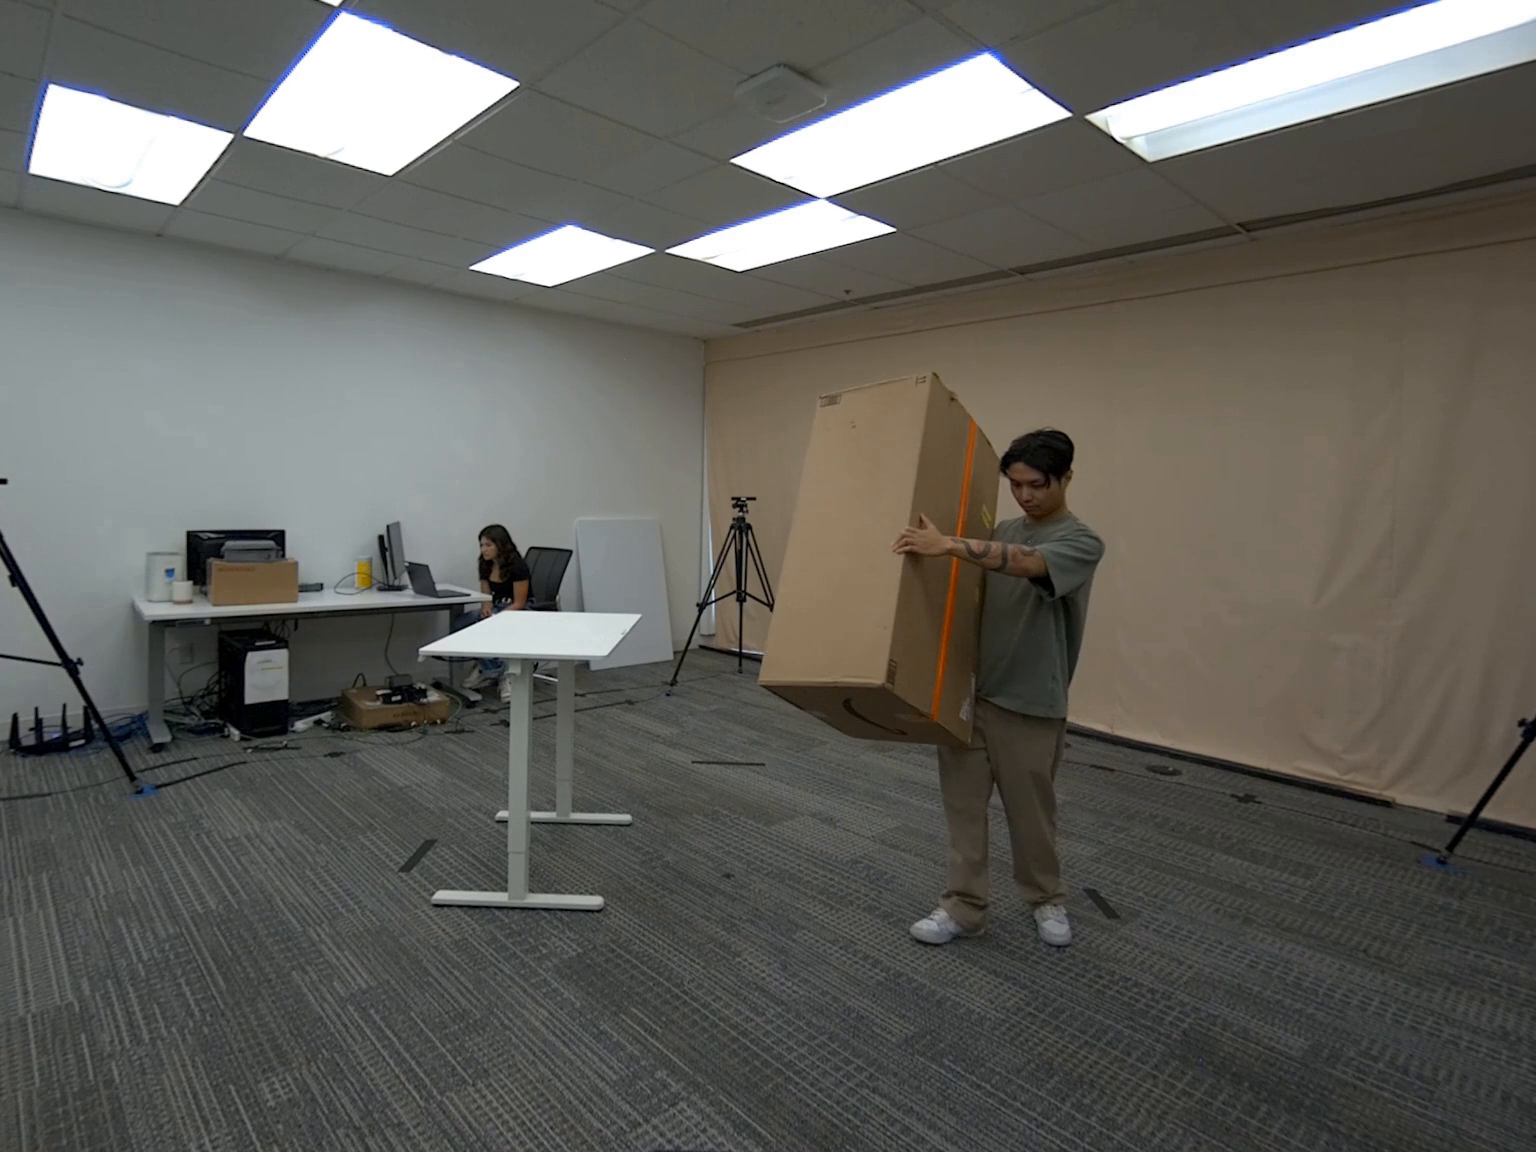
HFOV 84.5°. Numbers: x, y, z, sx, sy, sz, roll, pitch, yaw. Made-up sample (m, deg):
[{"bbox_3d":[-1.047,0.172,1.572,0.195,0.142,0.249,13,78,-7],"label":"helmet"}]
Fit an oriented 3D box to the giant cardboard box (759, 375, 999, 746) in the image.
[{"bbox_3d":[0.393,-0.037,2.706,0.435,1.038,0.559,-6,-29,37],"label":"giant cardboard box"}]
